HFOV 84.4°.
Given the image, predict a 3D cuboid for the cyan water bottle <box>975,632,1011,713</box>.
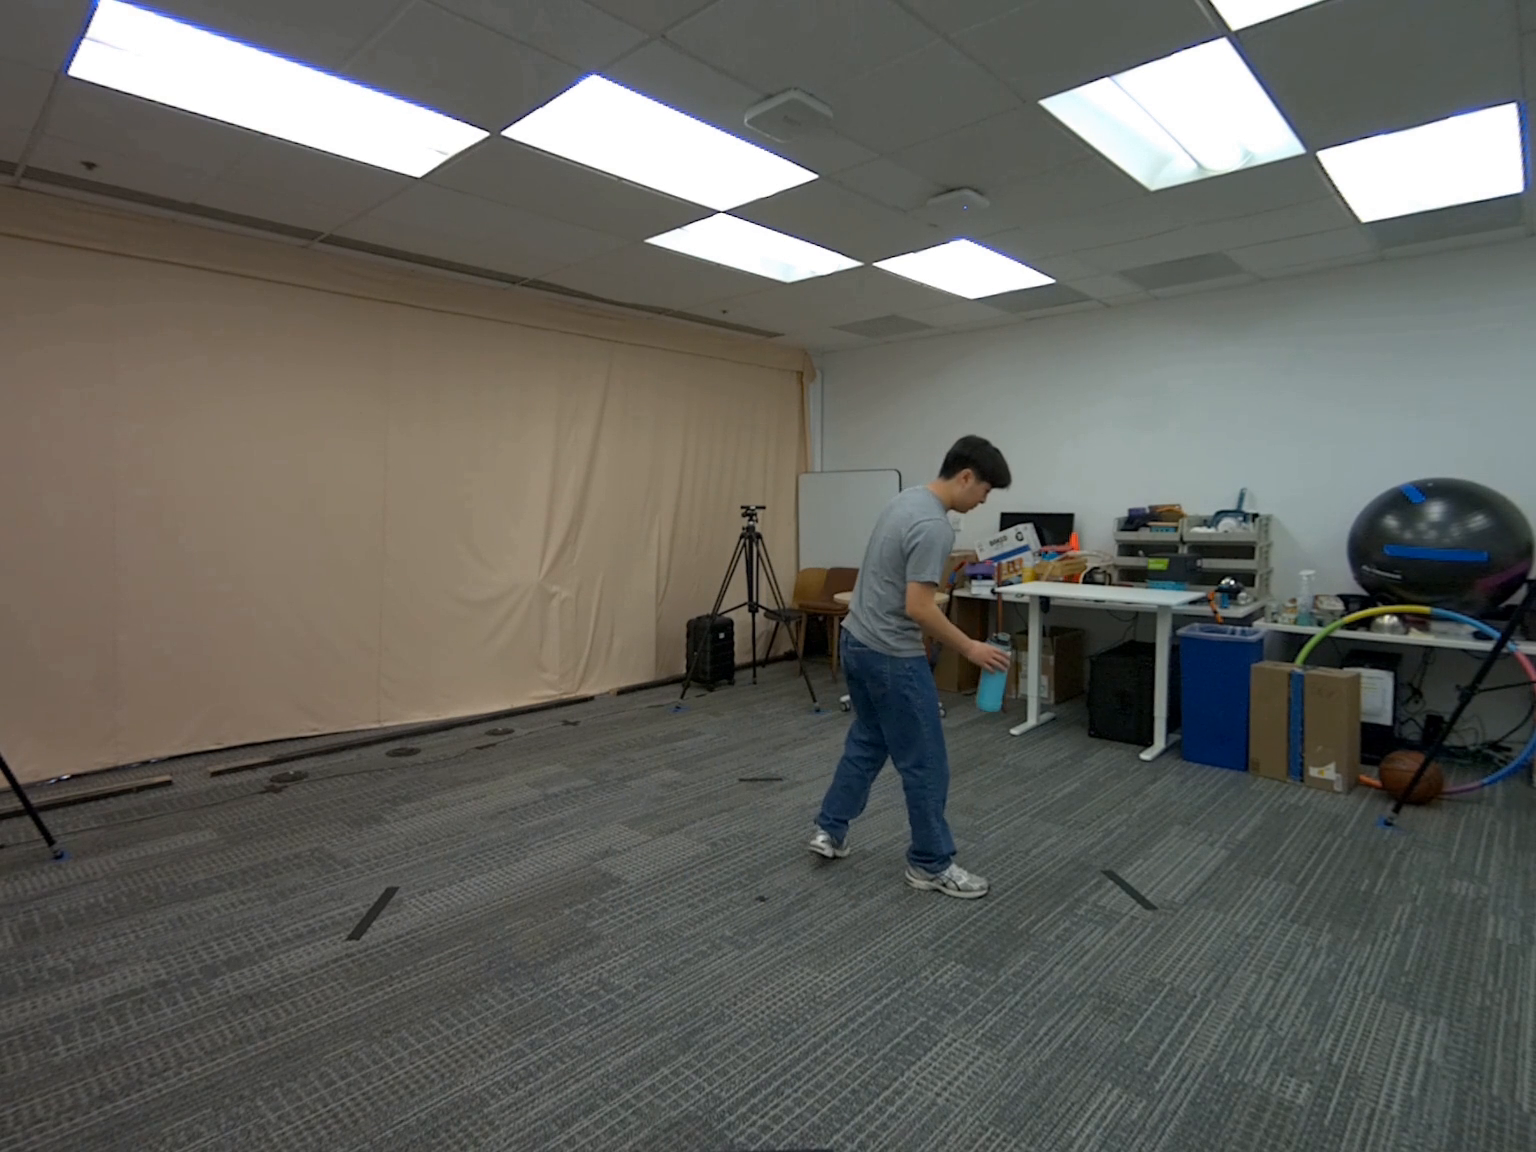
[{"bbox_3d":[0.825,0.350,3.040,0.092,0.282,0.093,6,8,-3],"label":"cyan water bottle"}]
